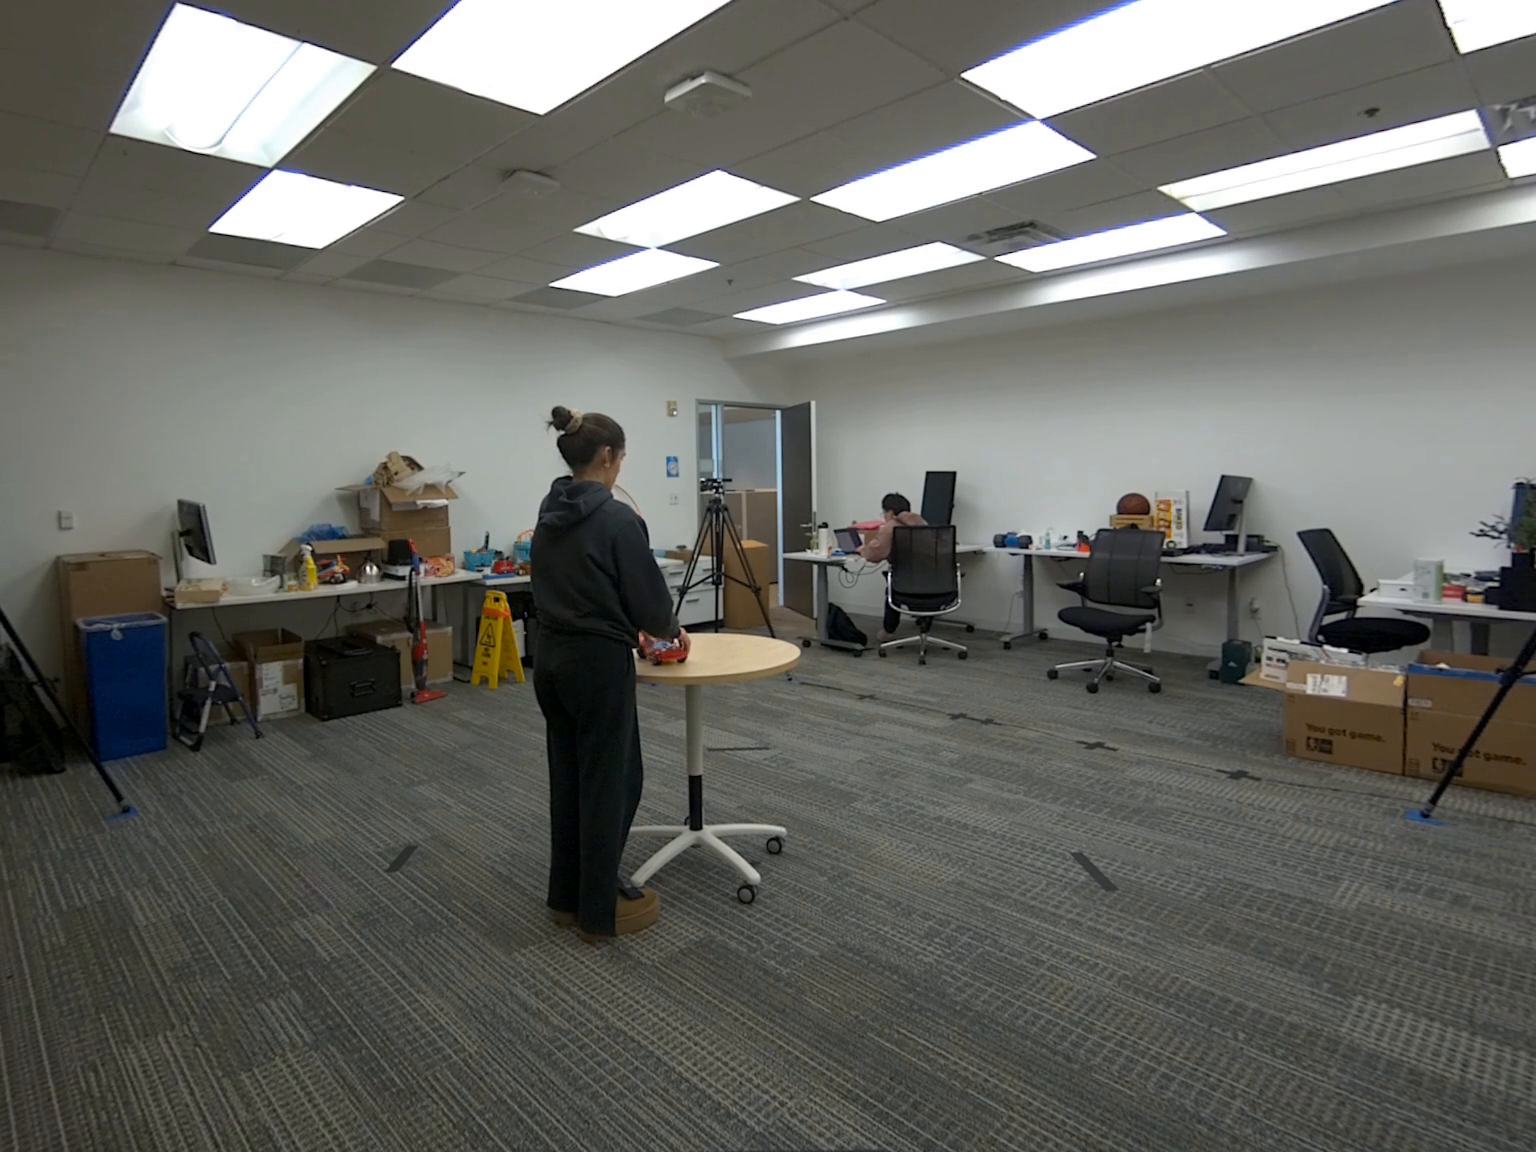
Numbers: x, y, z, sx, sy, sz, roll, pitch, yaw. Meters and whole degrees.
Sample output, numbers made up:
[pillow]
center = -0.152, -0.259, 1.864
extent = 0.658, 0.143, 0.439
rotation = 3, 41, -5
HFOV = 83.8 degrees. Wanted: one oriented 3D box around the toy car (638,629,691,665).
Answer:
[toy car]
center = -0.372, 0.257, 2.936
extent = 0.127, 0.082, 0.263
rotation = -3, 18, -25
